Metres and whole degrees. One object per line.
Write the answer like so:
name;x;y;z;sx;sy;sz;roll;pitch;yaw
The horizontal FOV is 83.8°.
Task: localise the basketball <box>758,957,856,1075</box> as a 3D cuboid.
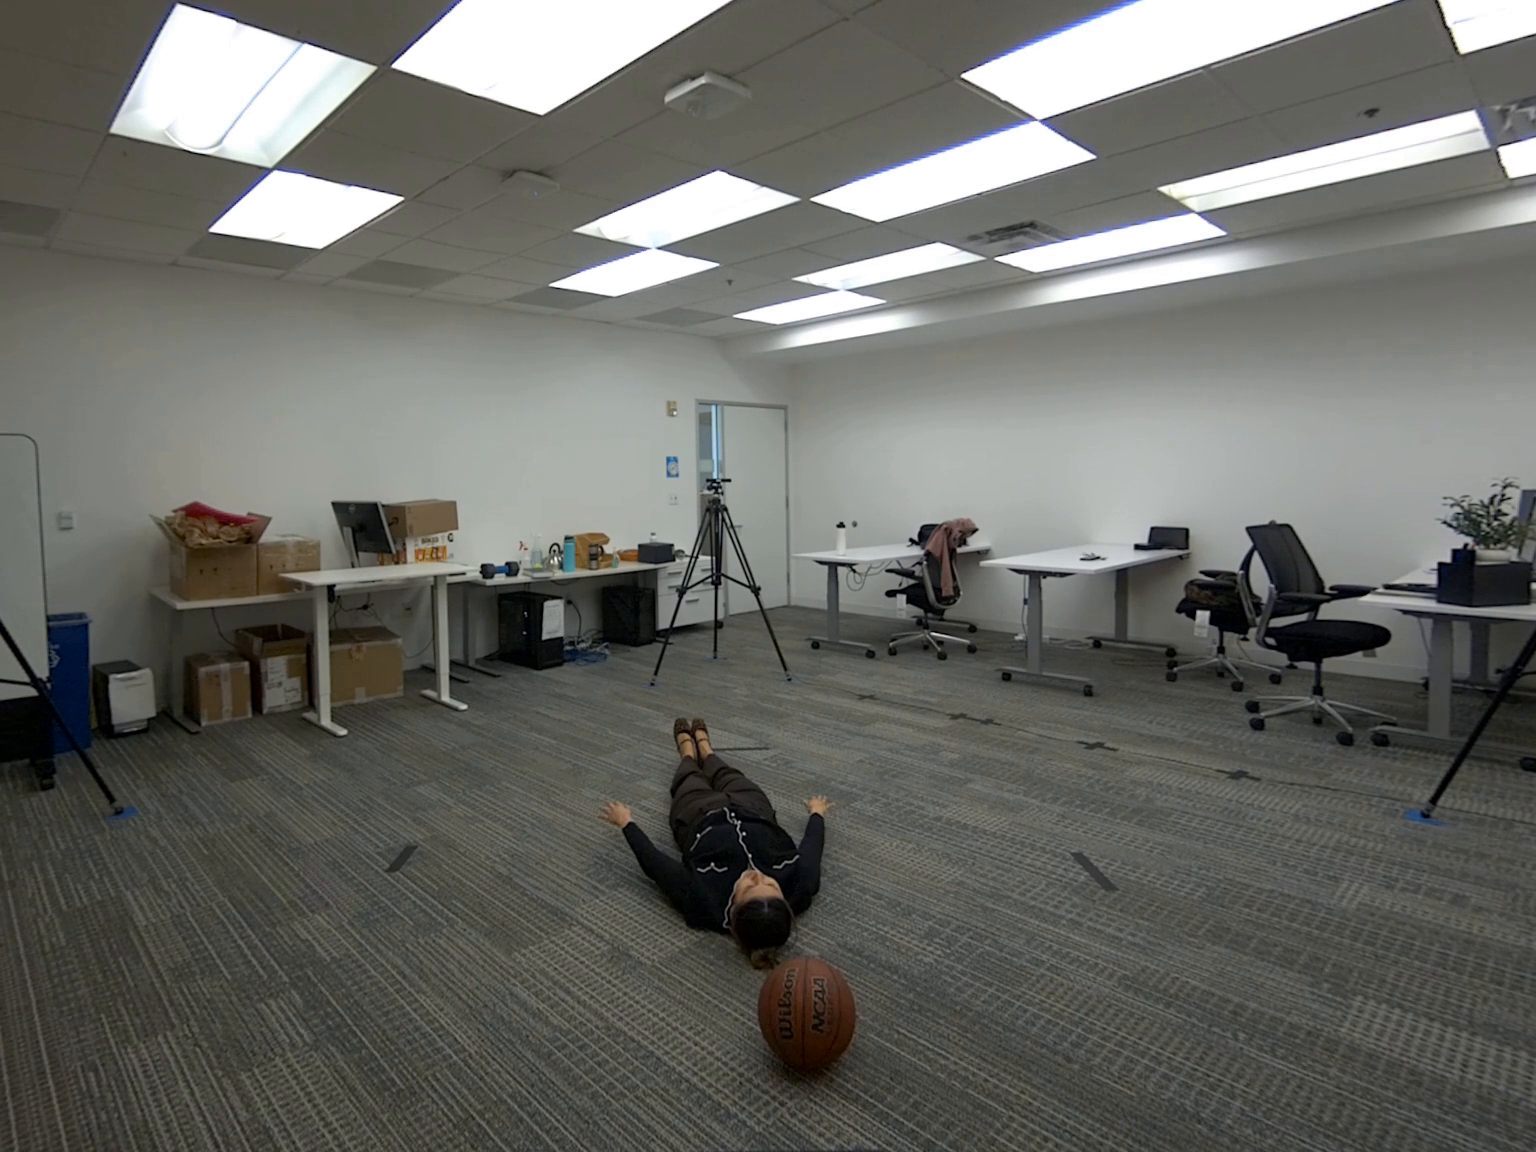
basketball;0.101;1.046;2.058;0.236;0.235;0.237;-1;5;-2
